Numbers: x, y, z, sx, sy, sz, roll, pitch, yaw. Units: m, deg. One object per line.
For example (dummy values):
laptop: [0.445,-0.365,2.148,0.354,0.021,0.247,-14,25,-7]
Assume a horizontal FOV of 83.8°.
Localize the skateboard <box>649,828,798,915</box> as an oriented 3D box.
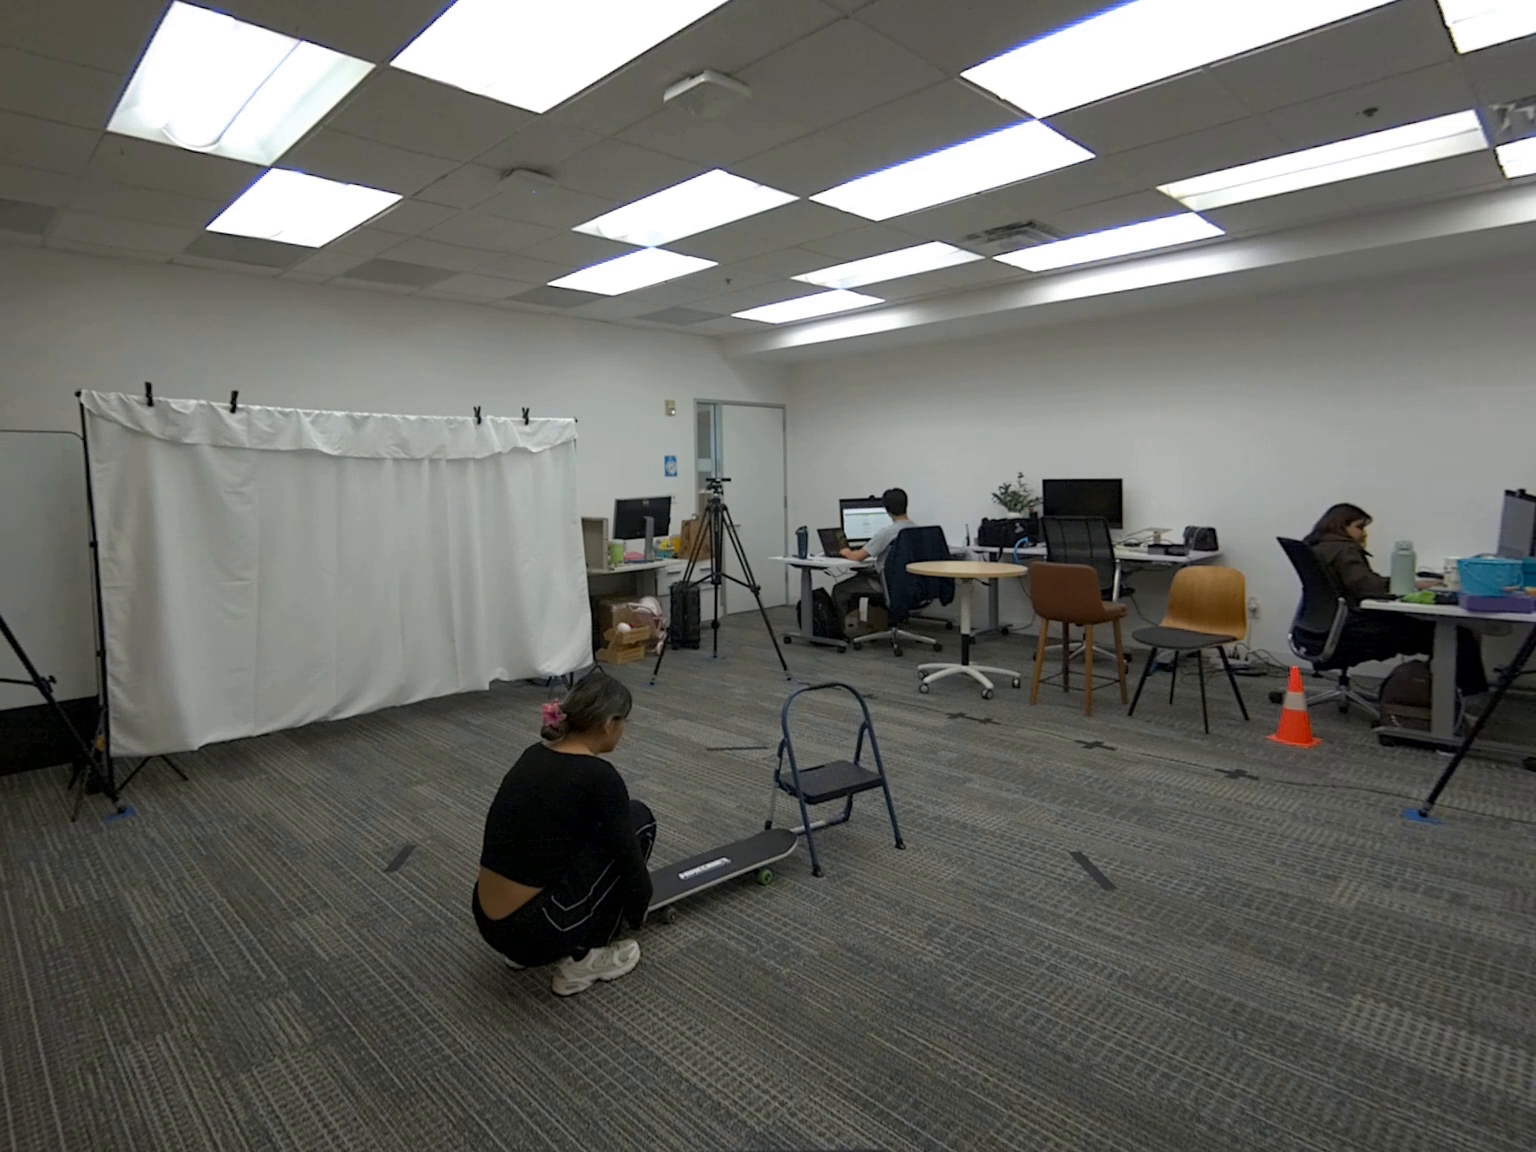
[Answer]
skateboard: [-0.210,1.016,2.879,0.765,0.110,0.199,-7,8,-38]
